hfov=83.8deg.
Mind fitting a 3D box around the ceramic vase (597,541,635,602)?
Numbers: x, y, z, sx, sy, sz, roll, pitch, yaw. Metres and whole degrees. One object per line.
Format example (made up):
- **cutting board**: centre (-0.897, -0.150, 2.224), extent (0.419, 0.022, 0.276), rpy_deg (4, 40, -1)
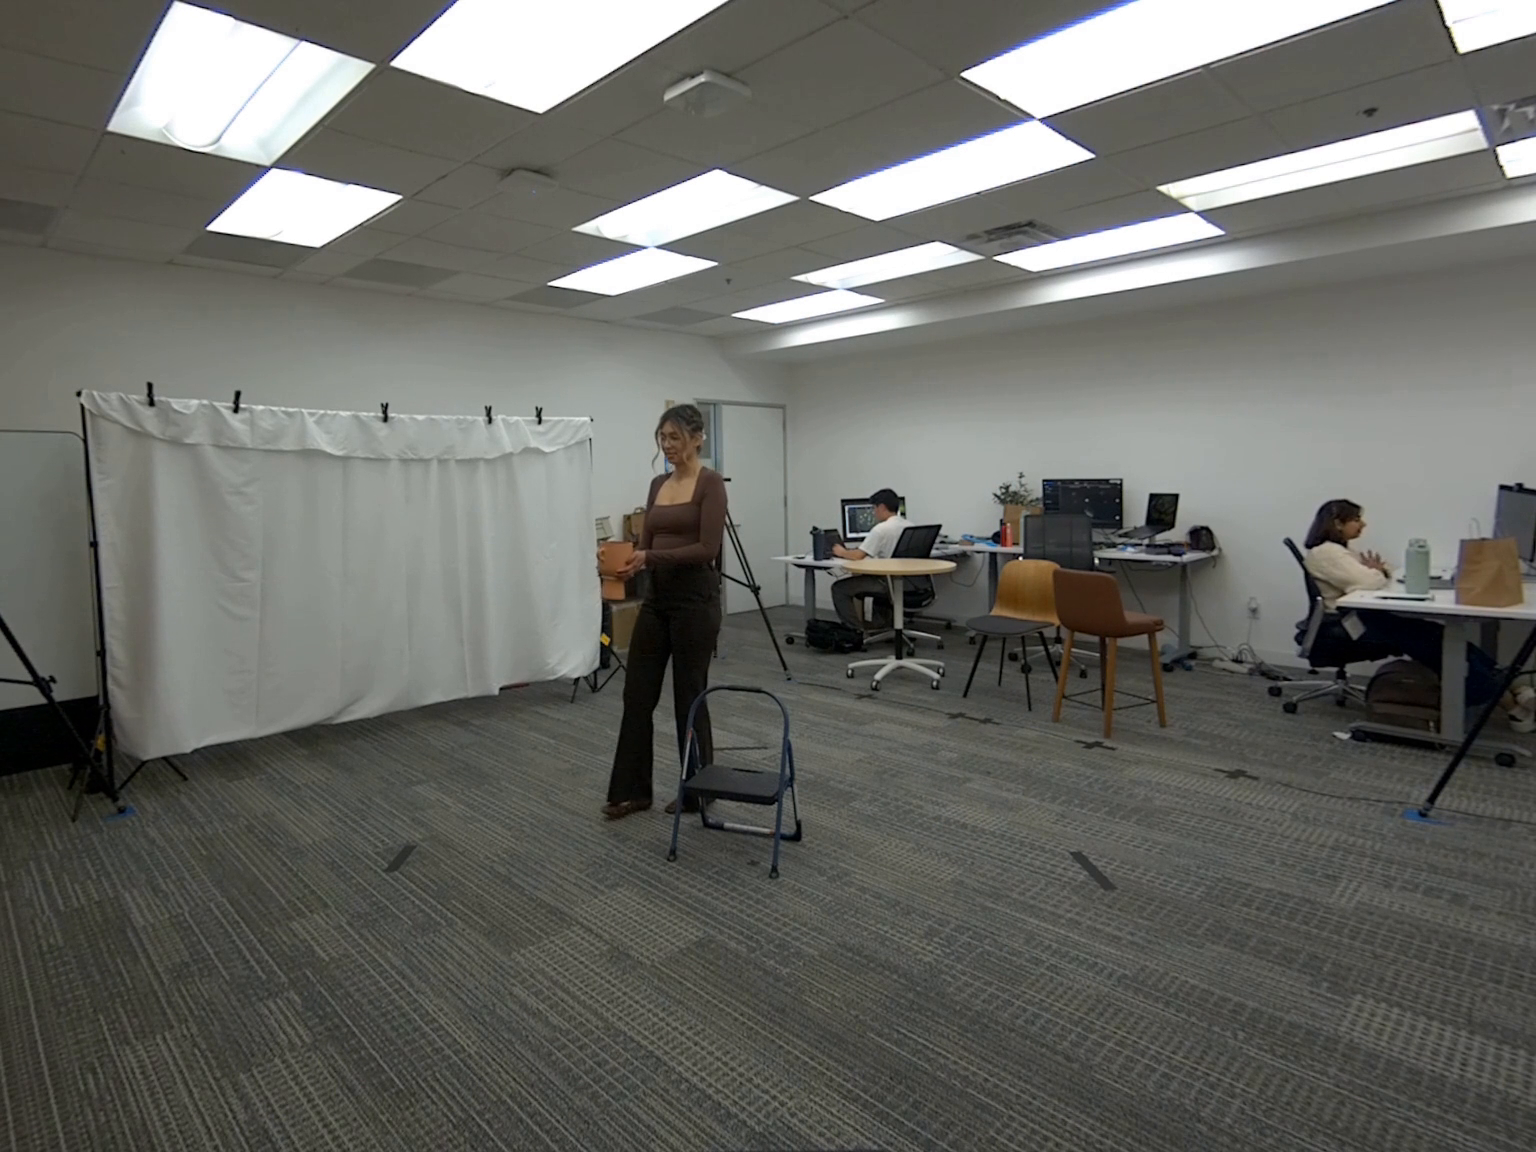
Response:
- **ceramic vase**: centre (-0.611, -0.023, 3.357), extent (0.156, 0.219, 0.137), rpy_deg (2, 5, -16)
